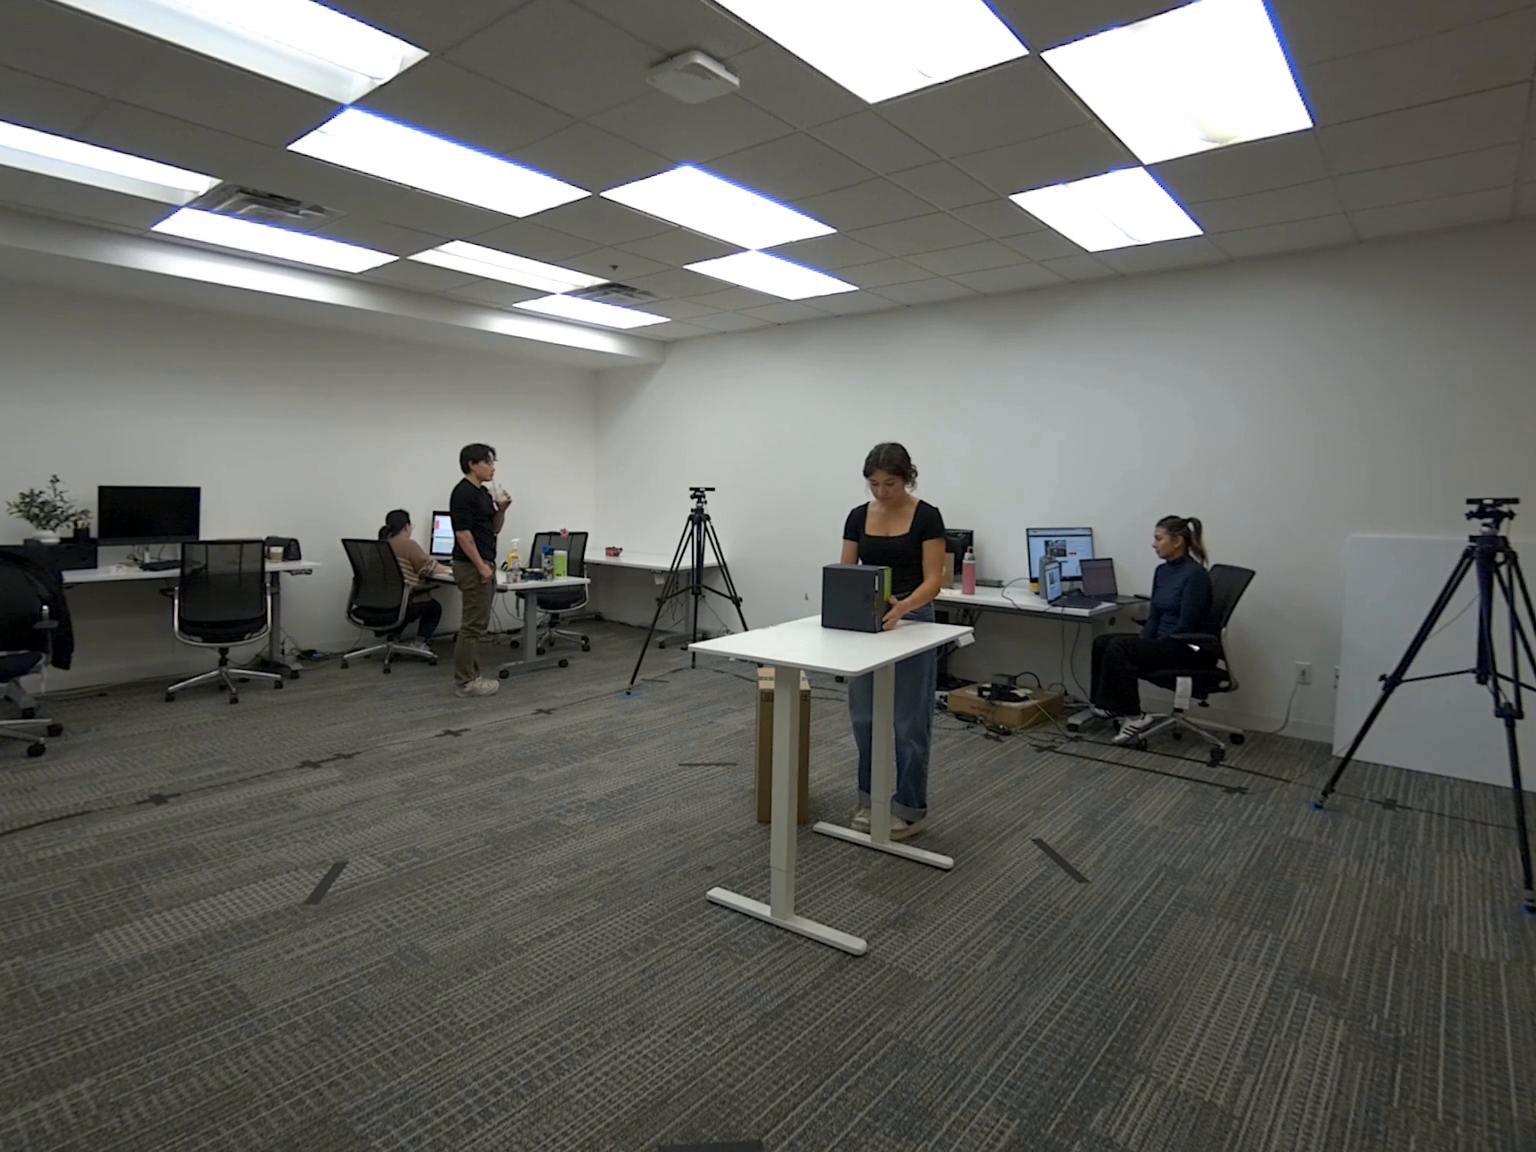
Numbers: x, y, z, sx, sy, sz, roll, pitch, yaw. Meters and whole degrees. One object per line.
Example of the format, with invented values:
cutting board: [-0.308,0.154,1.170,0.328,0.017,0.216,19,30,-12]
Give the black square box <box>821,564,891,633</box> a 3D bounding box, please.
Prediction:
black square box: [0.321,0.074,3.152,0.223,0.227,0.152,4,6,28]
